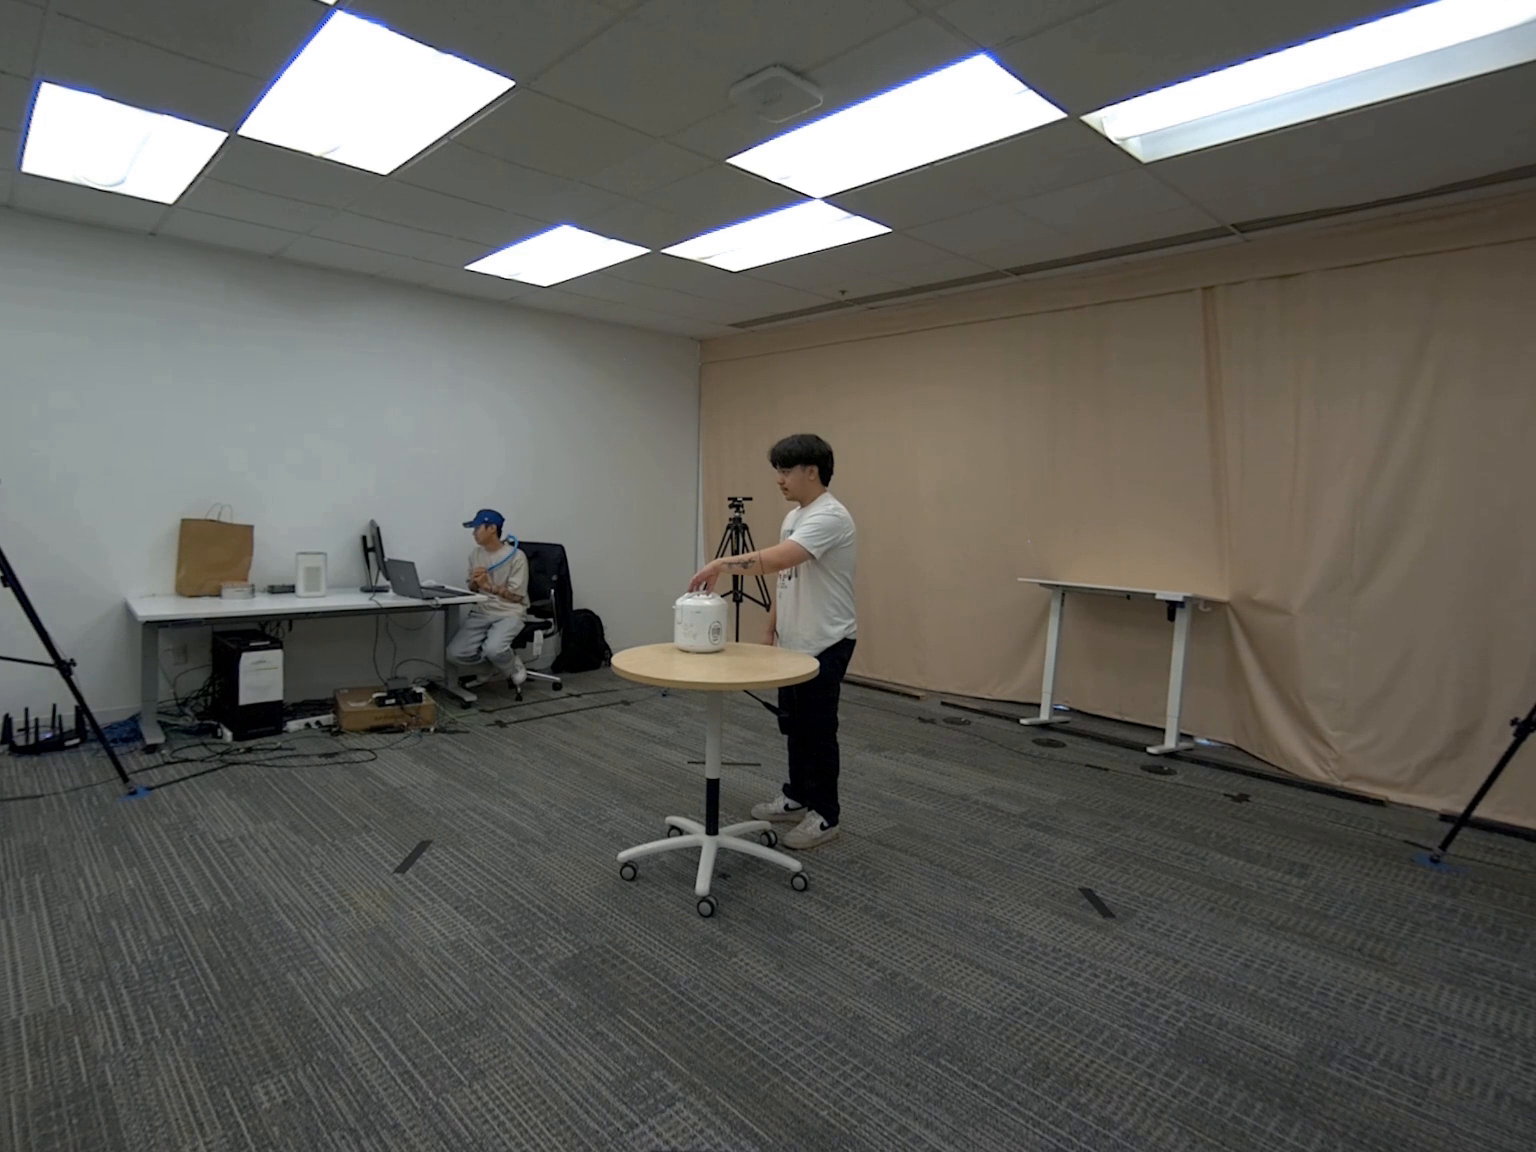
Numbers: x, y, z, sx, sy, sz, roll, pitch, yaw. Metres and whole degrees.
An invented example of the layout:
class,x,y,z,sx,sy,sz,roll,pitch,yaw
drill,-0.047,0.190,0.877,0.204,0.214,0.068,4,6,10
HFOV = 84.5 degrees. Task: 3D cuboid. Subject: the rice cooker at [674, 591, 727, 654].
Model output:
class,x,y,z,sx,sy,sz,roll,pitch,yaw
rice cooker,-0.268,0.172,3.298,0.216,0.232,0.223,-2,5,-37
